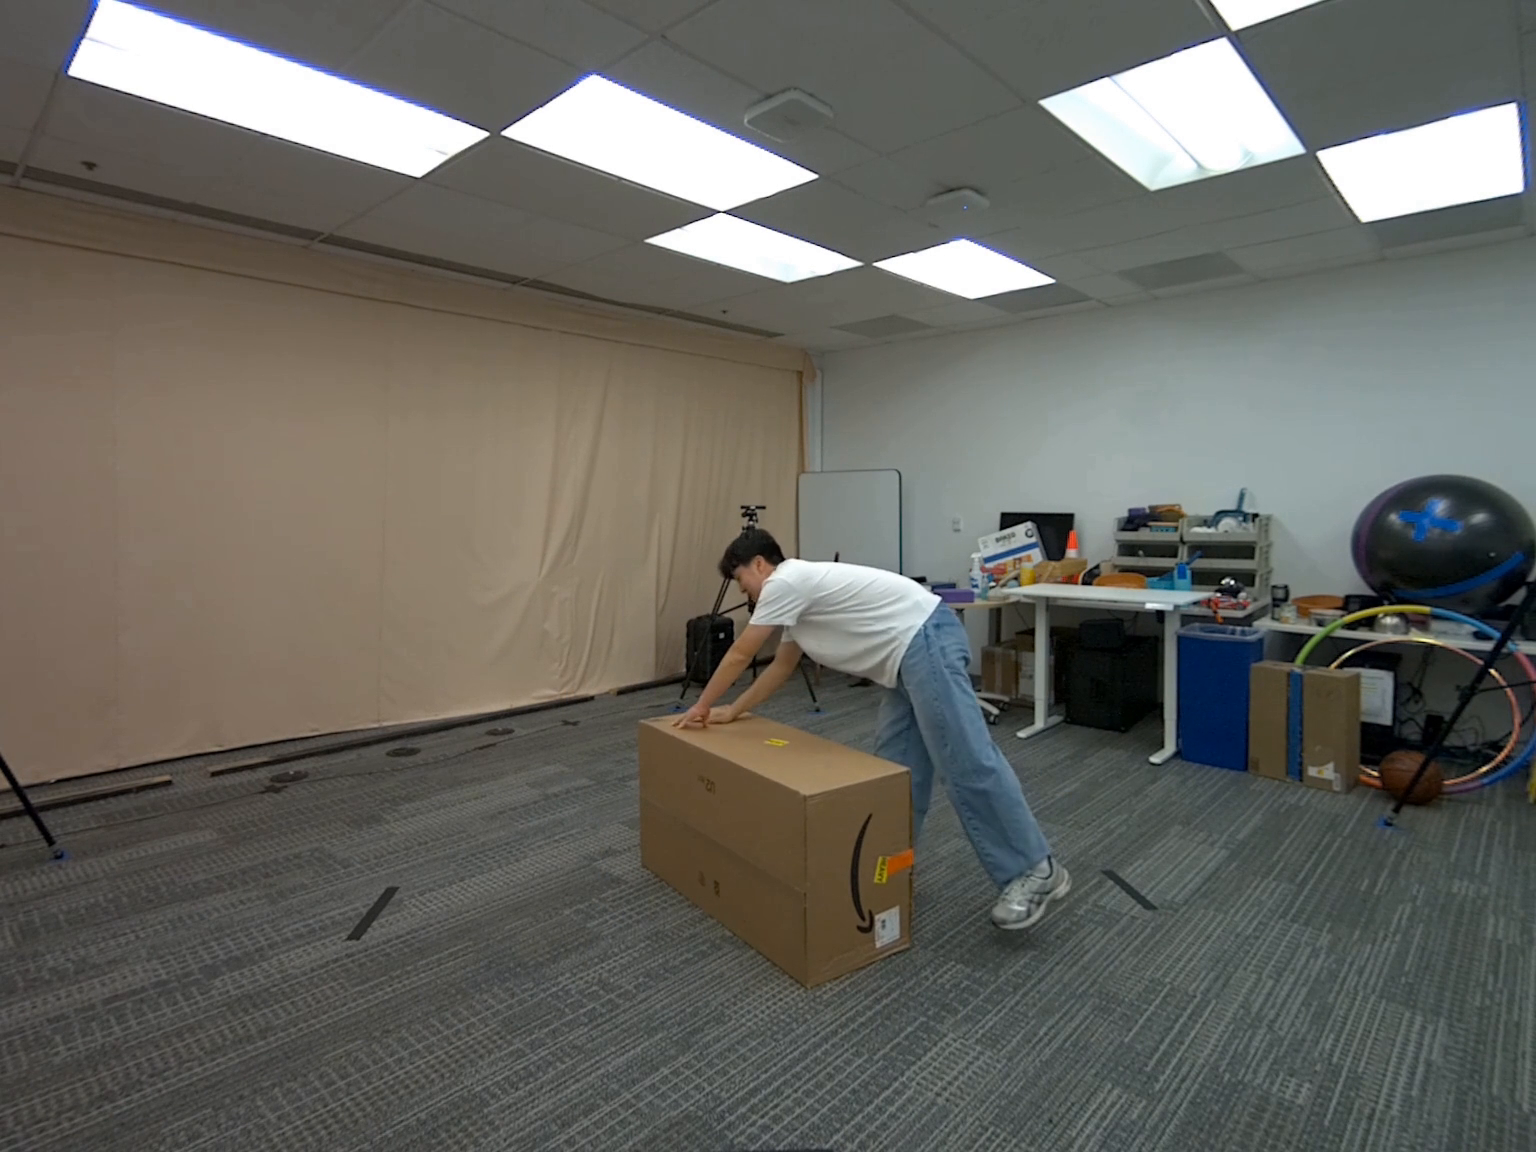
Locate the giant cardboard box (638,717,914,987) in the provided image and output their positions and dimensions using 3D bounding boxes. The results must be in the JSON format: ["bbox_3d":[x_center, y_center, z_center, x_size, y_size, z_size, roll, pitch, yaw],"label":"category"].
[{"bbox_3d":[-0.024,0.863,2.945,0.414,0.576,1.058,-3,5,-35],"label":"giant cardboard box"}]
